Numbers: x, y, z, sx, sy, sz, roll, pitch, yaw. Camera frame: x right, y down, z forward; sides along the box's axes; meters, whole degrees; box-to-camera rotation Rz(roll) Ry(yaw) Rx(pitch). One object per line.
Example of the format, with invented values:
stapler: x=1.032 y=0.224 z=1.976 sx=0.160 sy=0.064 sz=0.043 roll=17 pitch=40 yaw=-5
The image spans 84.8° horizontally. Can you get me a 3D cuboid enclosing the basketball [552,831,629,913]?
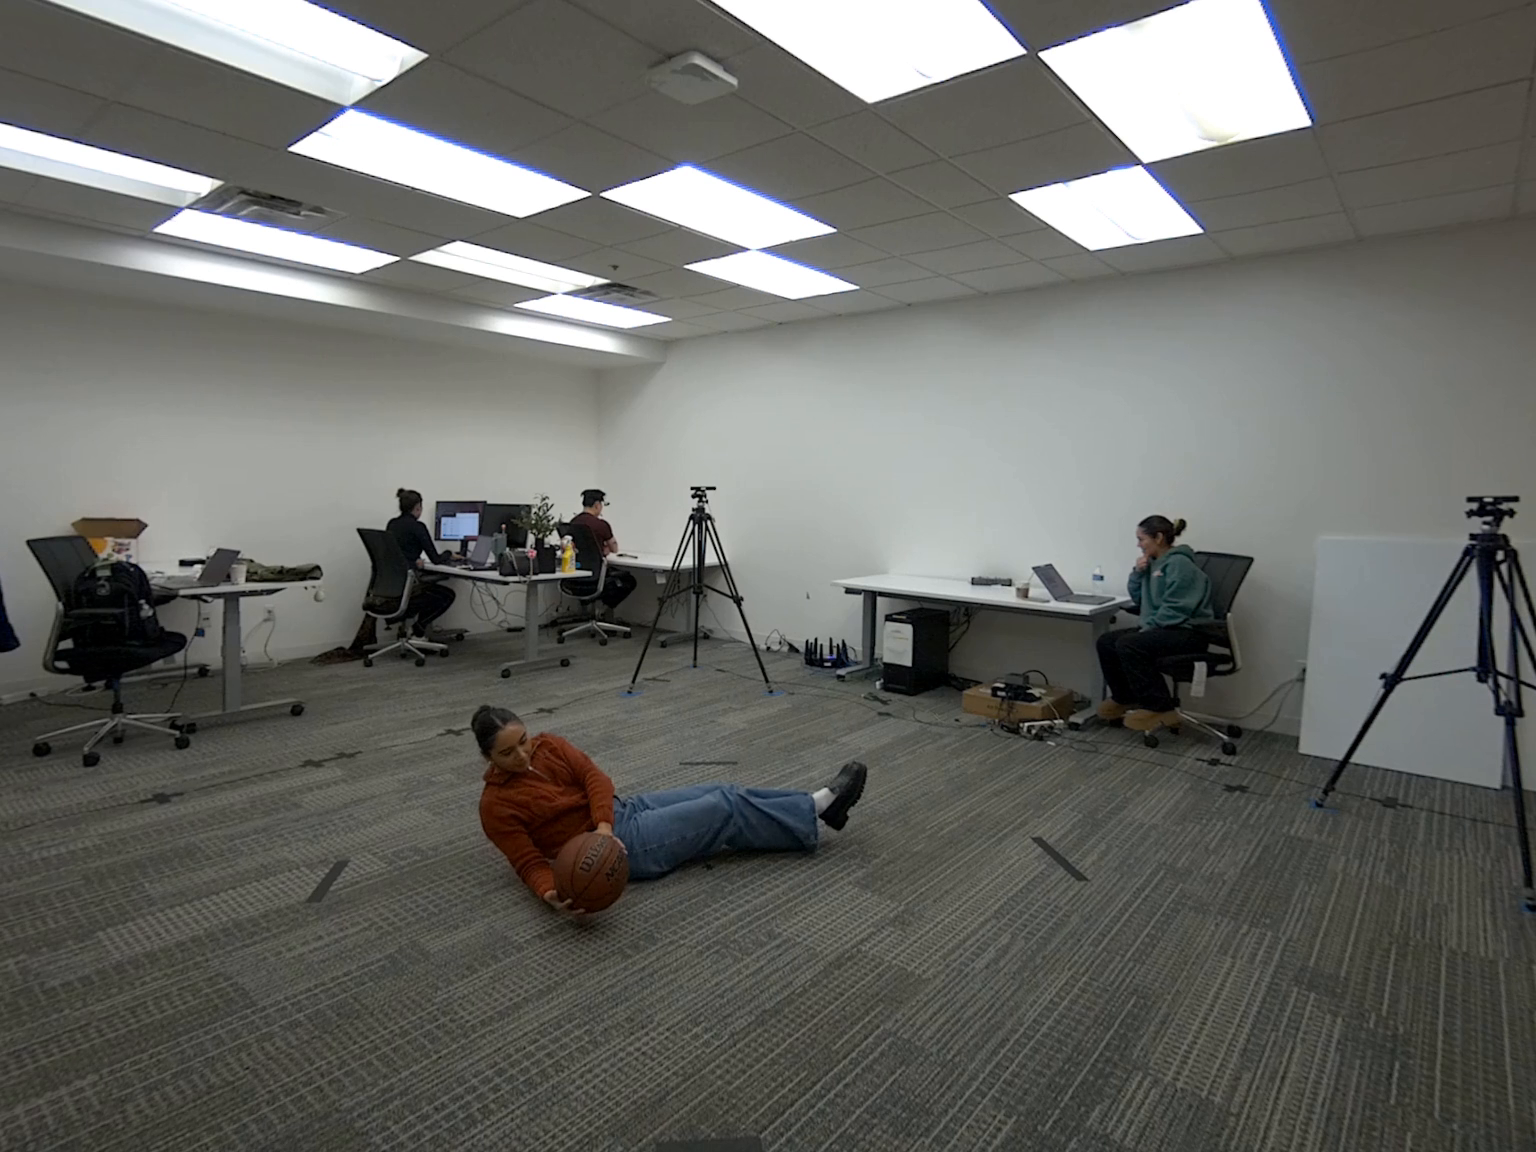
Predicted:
basketball: x=-0.555 y=0.911 z=2.691 sx=0.235 sy=0.235 sz=0.237 roll=1 pitch=4 yaw=-2
